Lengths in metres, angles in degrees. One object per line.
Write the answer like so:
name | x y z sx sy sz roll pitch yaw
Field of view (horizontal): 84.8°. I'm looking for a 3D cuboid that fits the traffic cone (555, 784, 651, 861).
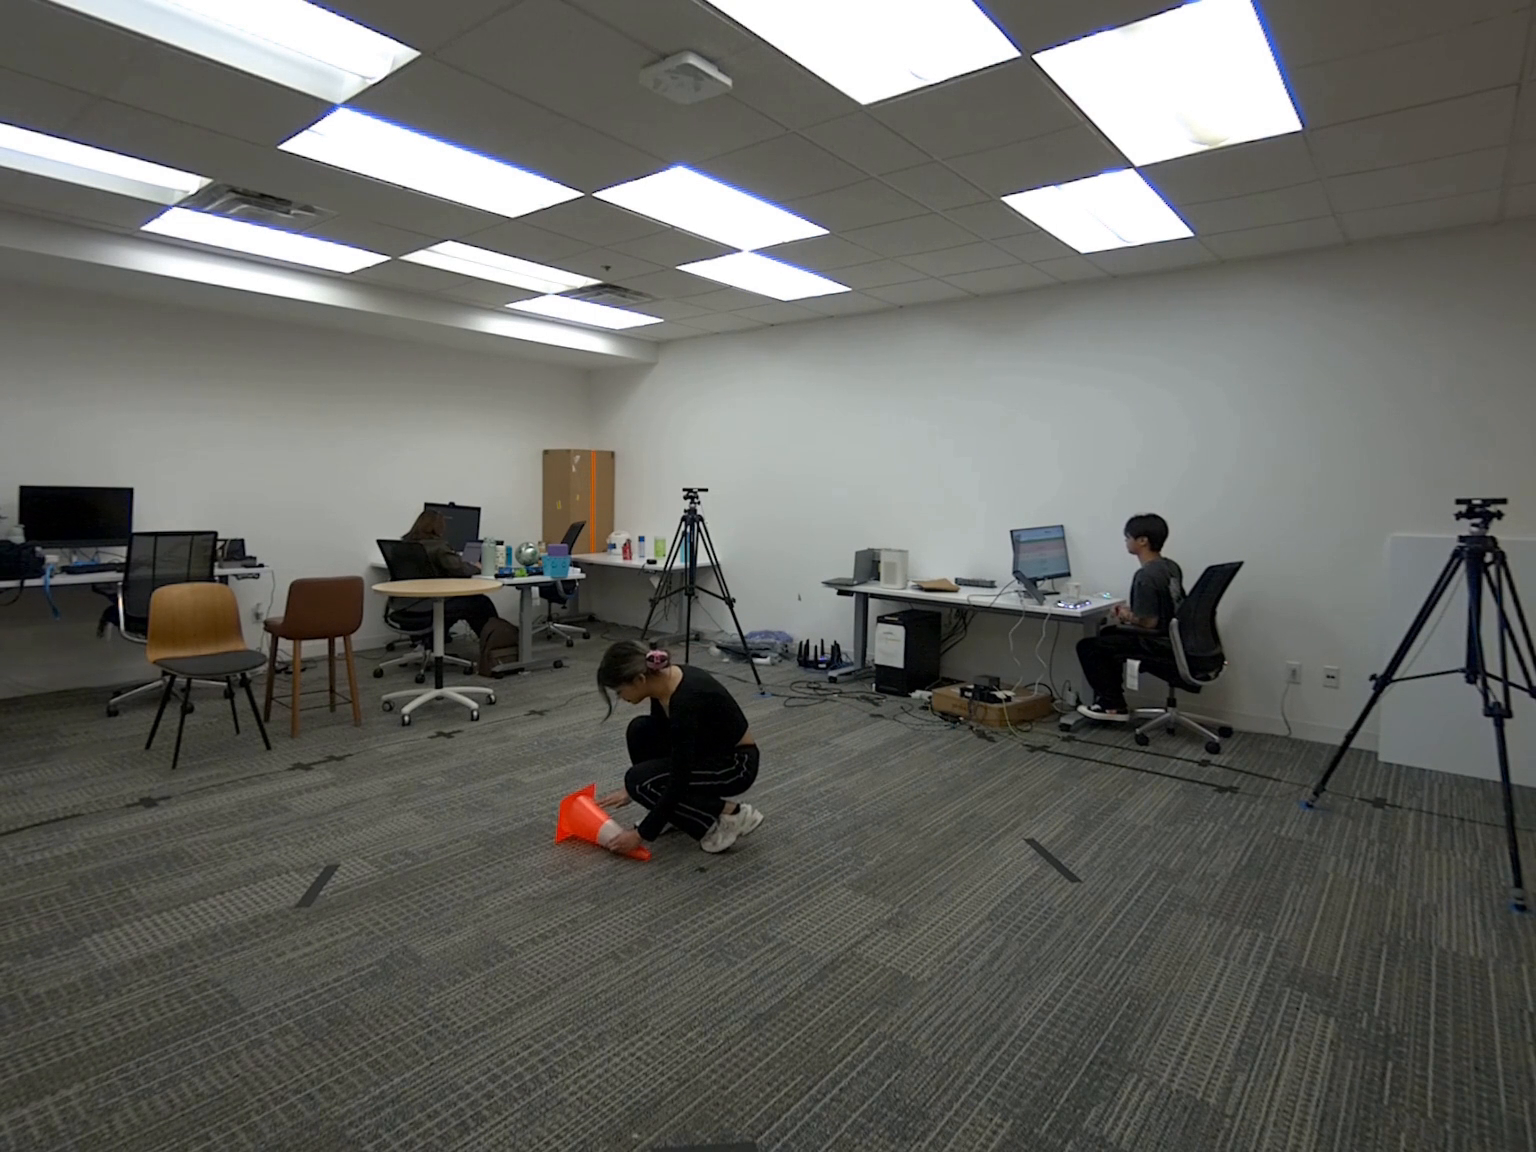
traffic cone | -0.617 0.991 3.280 0.397 0.201 0.200 20 19 29
